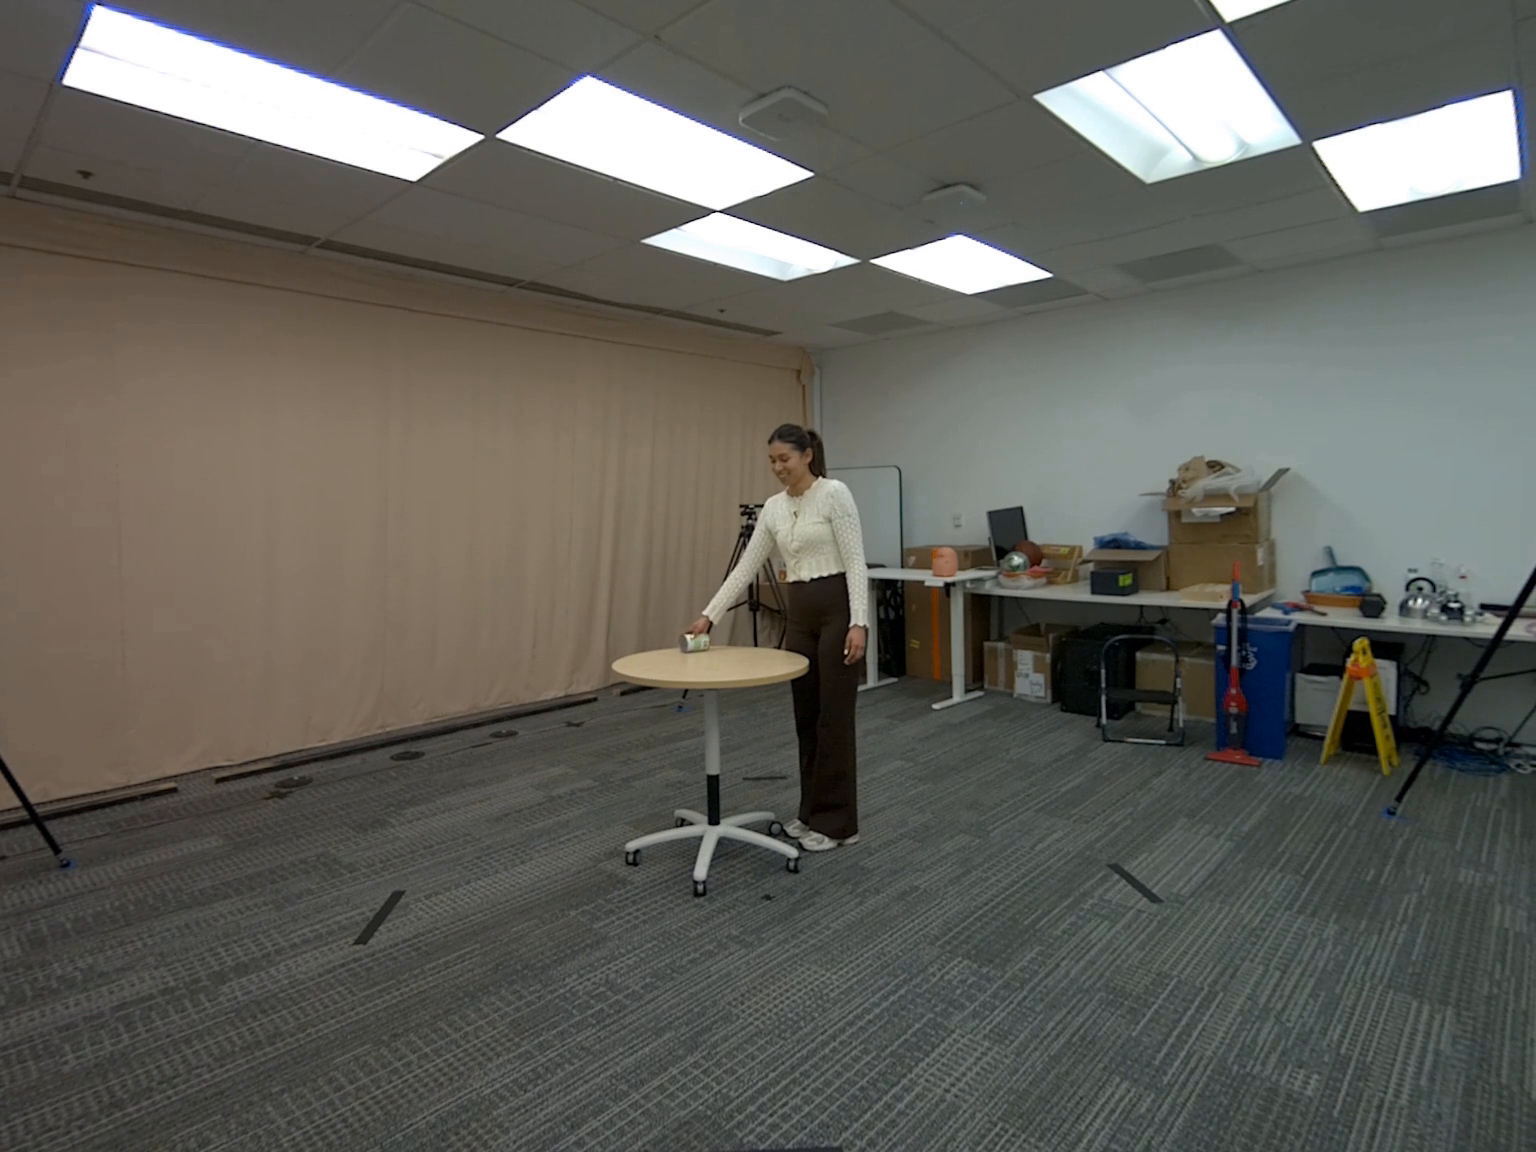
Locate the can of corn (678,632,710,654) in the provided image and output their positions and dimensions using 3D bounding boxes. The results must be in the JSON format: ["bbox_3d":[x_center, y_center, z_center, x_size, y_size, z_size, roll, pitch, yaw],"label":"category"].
[{"bbox_3d":[-0.305,0.283,3.549,0.108,0.074,0.076,1,3,-23],"label":"can of corn"}]
